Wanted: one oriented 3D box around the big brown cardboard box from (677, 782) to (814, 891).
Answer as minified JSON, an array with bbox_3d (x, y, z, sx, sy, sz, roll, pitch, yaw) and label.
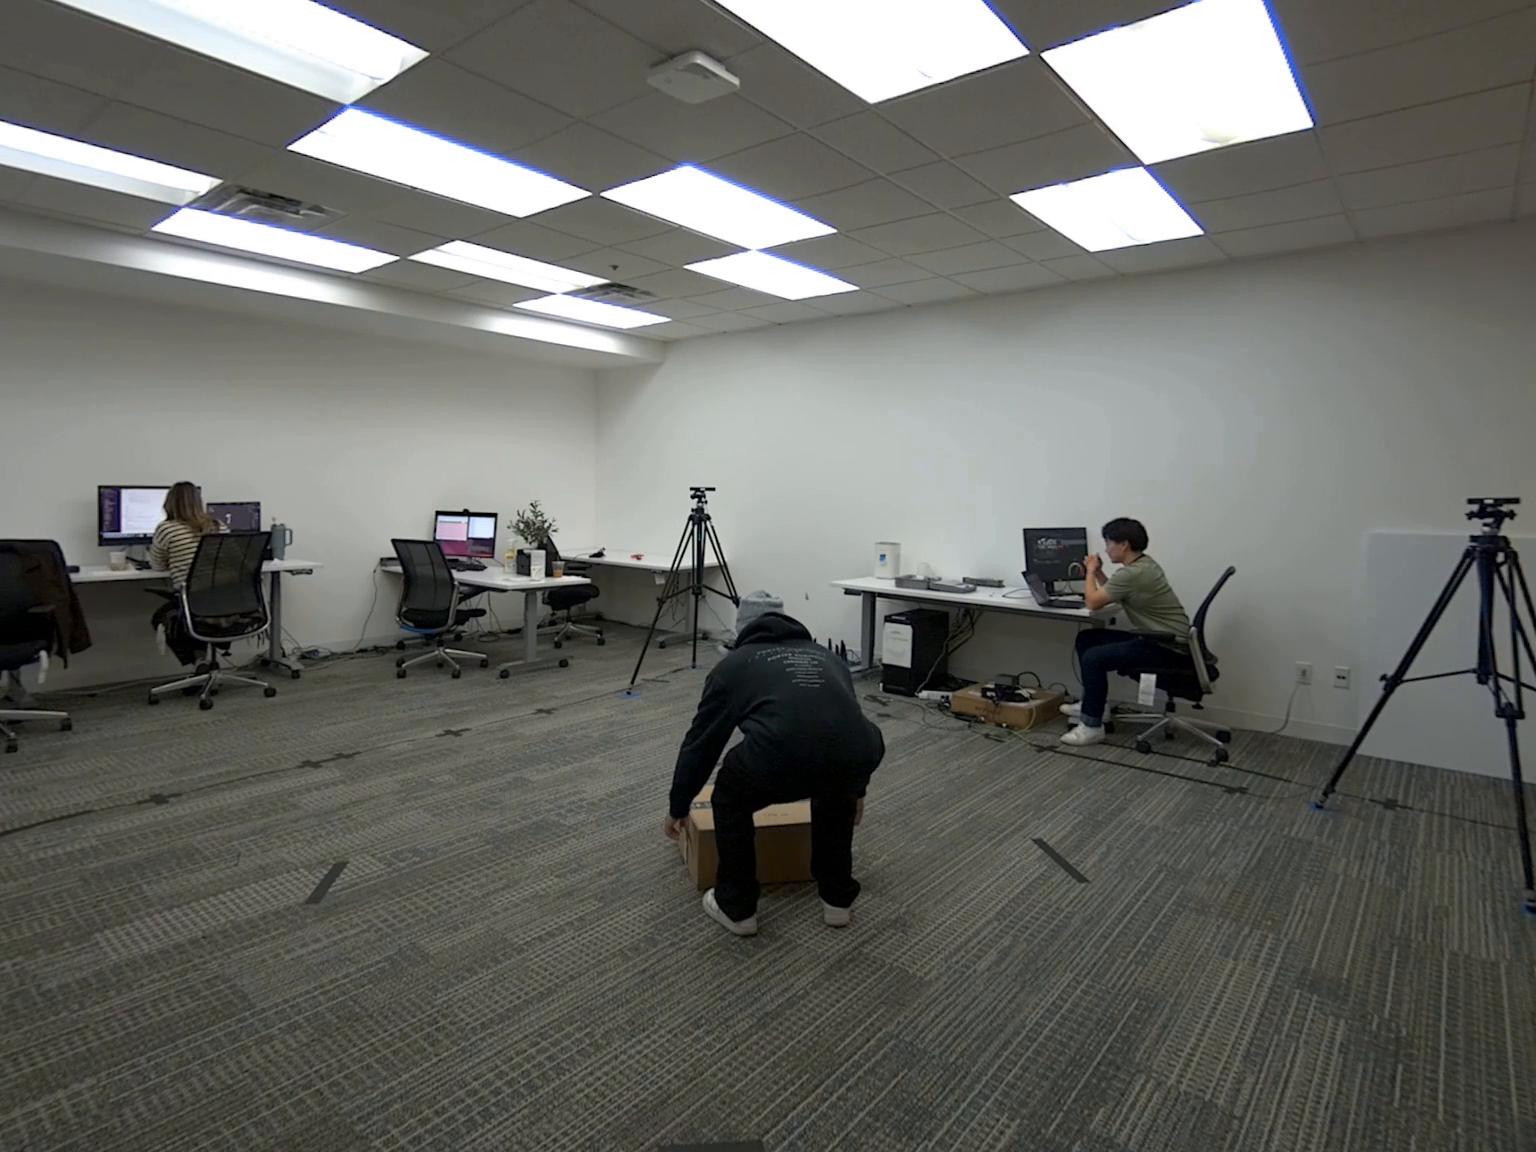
[{"bbox_3d":[-0.038,0.949,3.189,0.581,0.232,0.426,1,6,-14],"label":"big brown cardboard box"}]
